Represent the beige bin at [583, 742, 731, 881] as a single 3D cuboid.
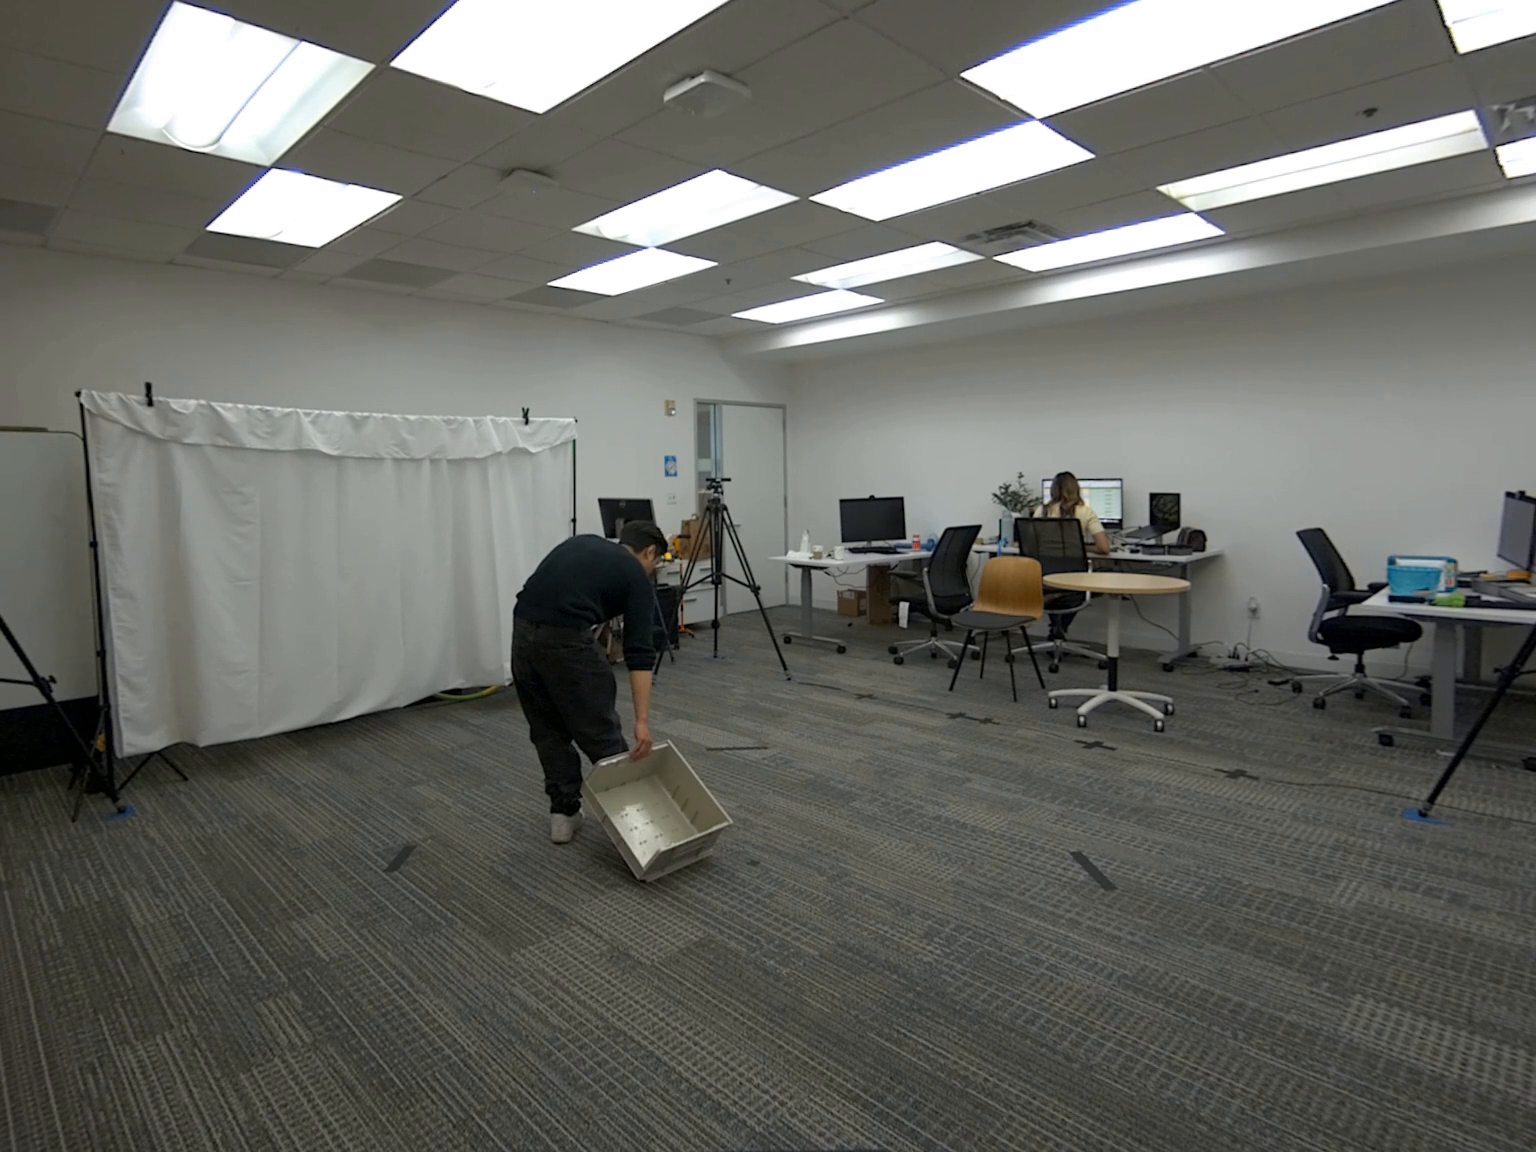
[{"bbox_3d":[-0.417,0.855,3.129,0.367,0.187,0.438,-5,38,-45],"label":"beige bin"}]
